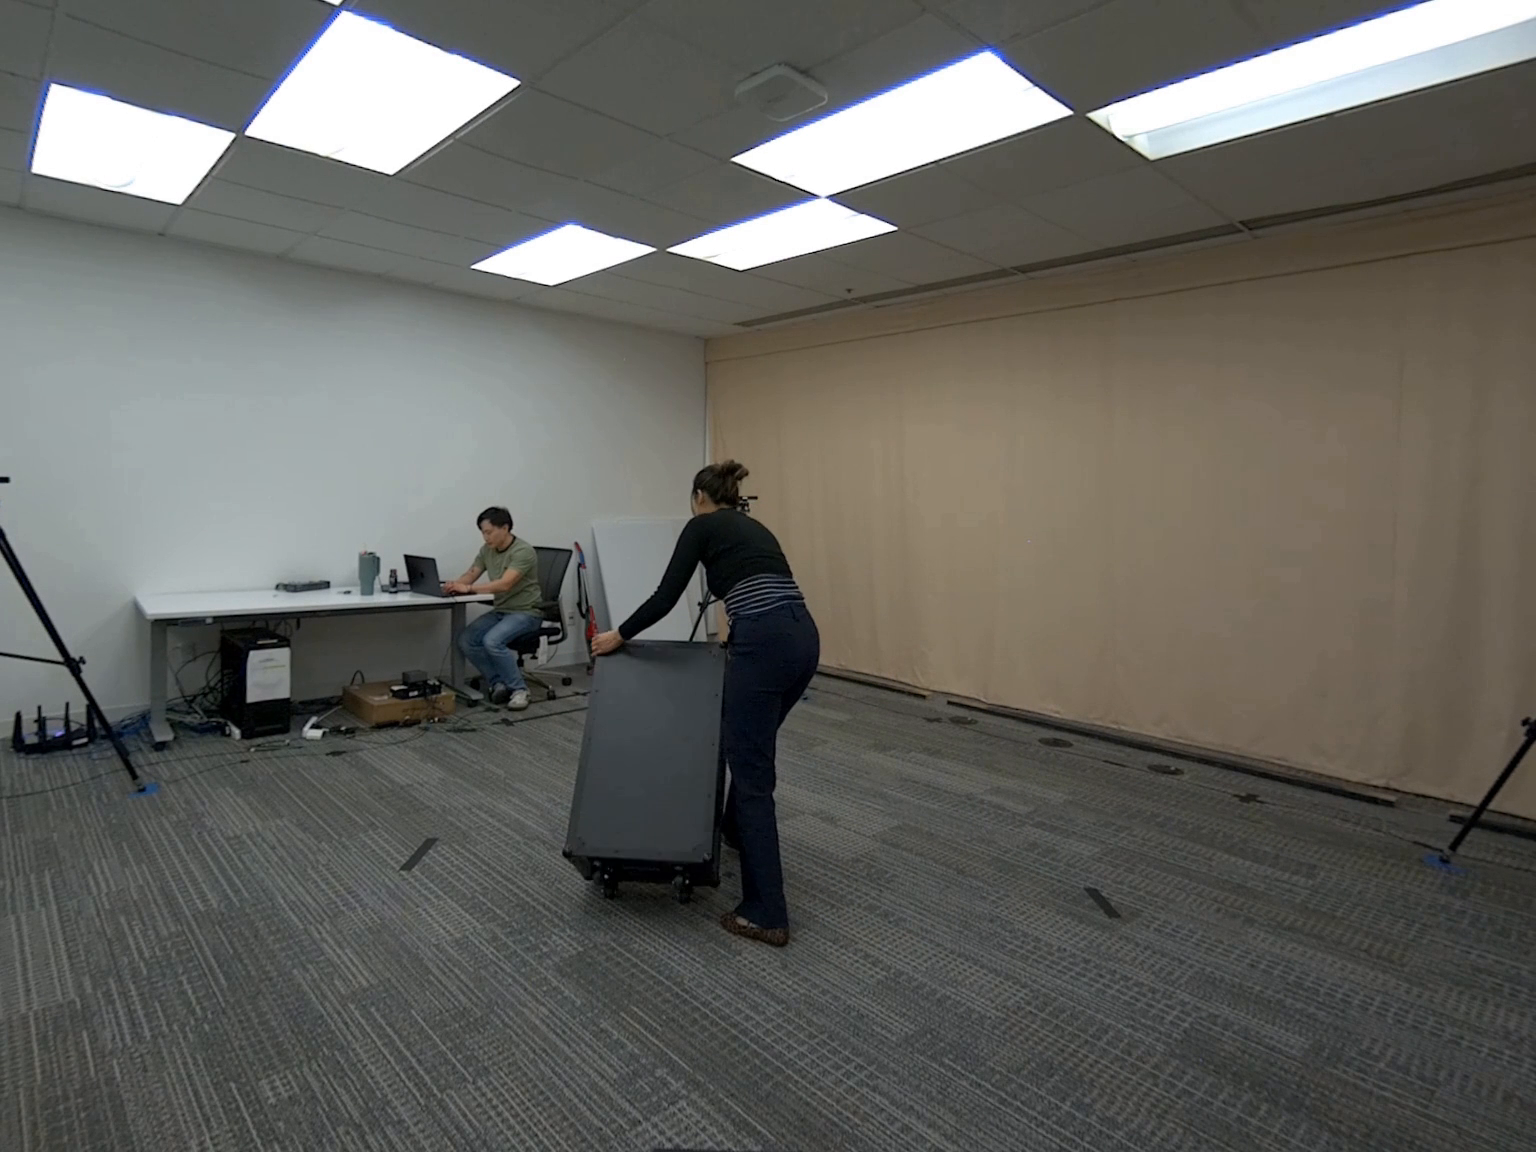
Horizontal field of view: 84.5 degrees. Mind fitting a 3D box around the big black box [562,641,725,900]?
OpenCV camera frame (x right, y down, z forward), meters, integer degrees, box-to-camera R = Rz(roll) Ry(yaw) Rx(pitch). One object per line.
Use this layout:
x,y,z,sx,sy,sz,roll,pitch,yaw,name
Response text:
-0.410,0.694,3.029,0.523,0.878,0.387,1,-34,4,big black box
